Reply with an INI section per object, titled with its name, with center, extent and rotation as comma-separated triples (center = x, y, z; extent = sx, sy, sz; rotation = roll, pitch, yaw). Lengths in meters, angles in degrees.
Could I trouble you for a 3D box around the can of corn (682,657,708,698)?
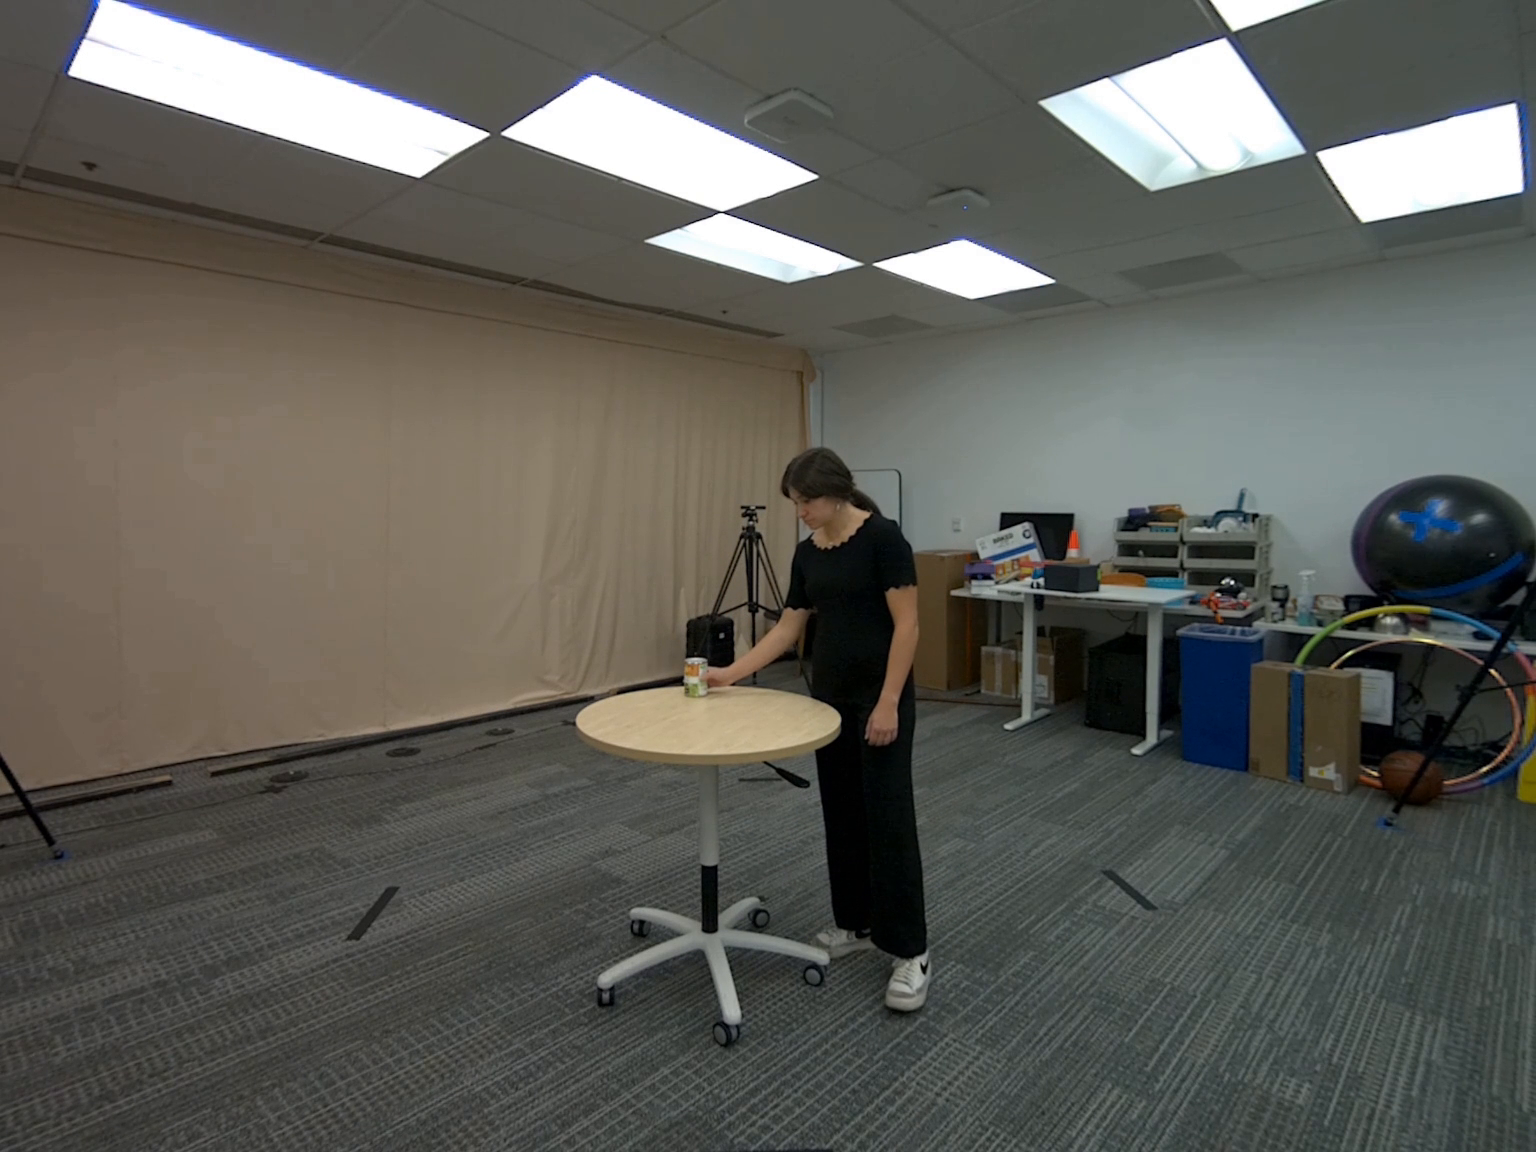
[can of corn]
center = -0.228, 0.333, 2.696
extent = 0.074, 0.111, 0.074
rotation = 5, 4, -2
